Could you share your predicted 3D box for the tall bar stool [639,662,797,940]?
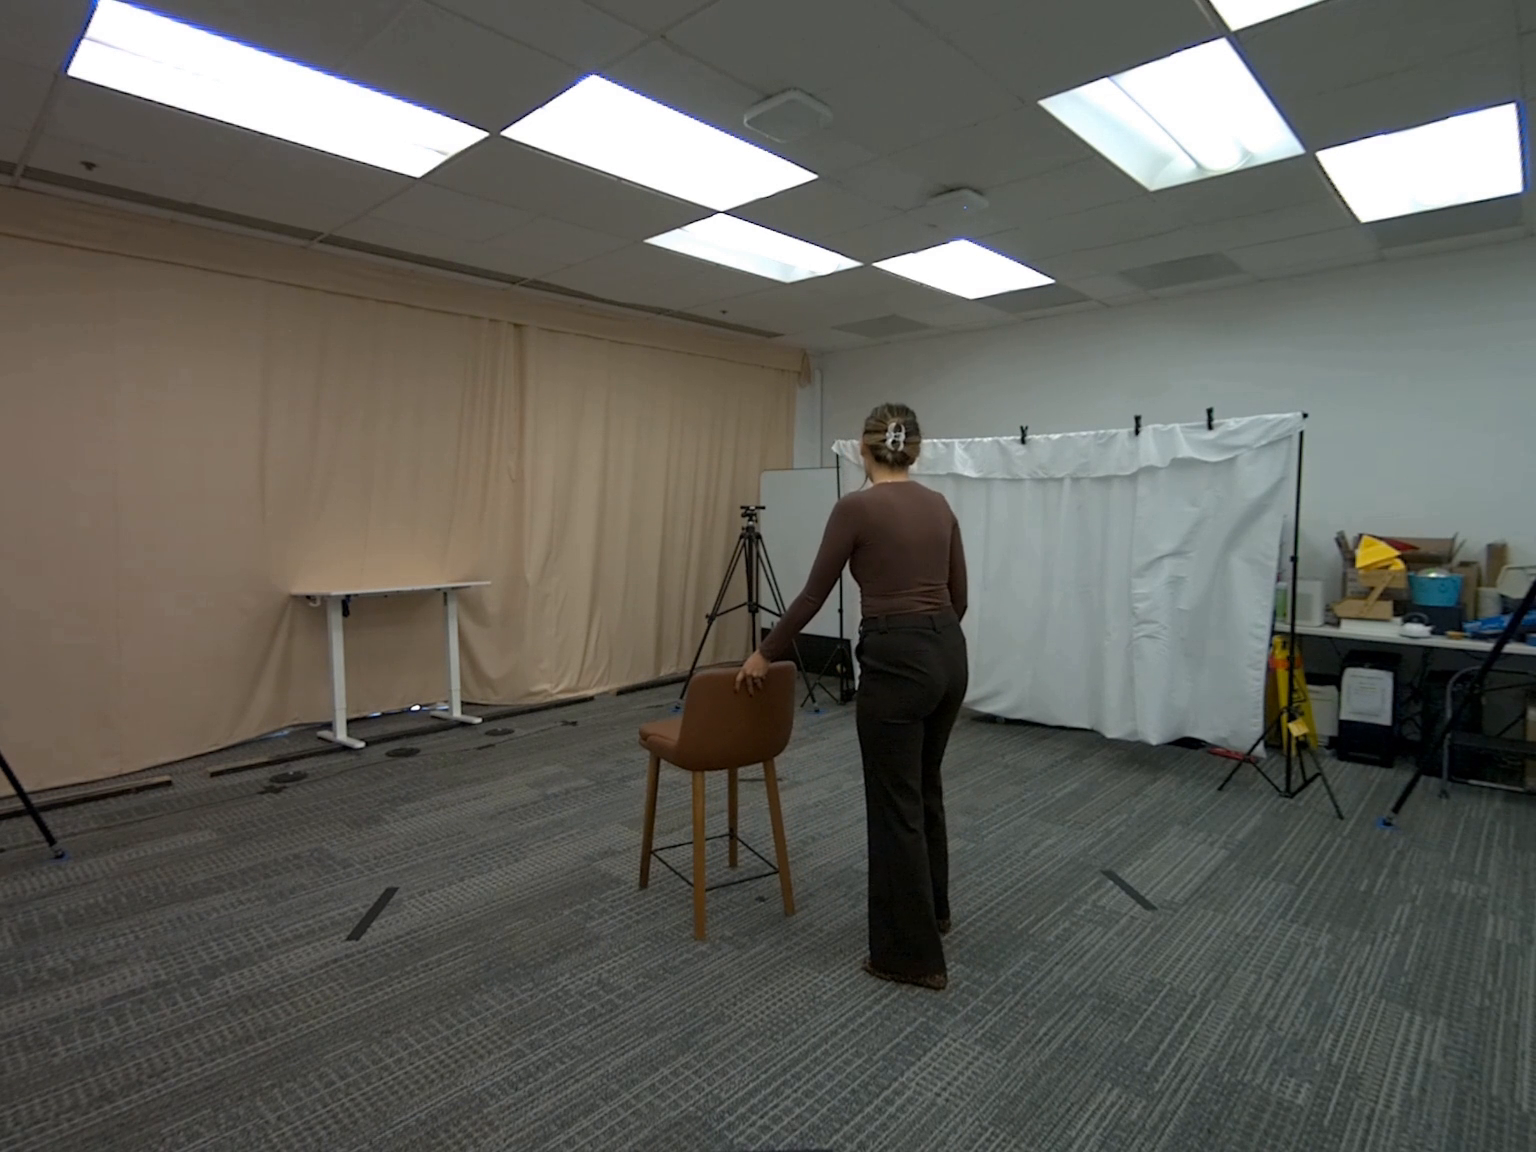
[{"bbox_3d":[-0.179,0.712,2.950,0.444,0.887,0.482,-2,6,-31],"label":"tall bar stool"}]
